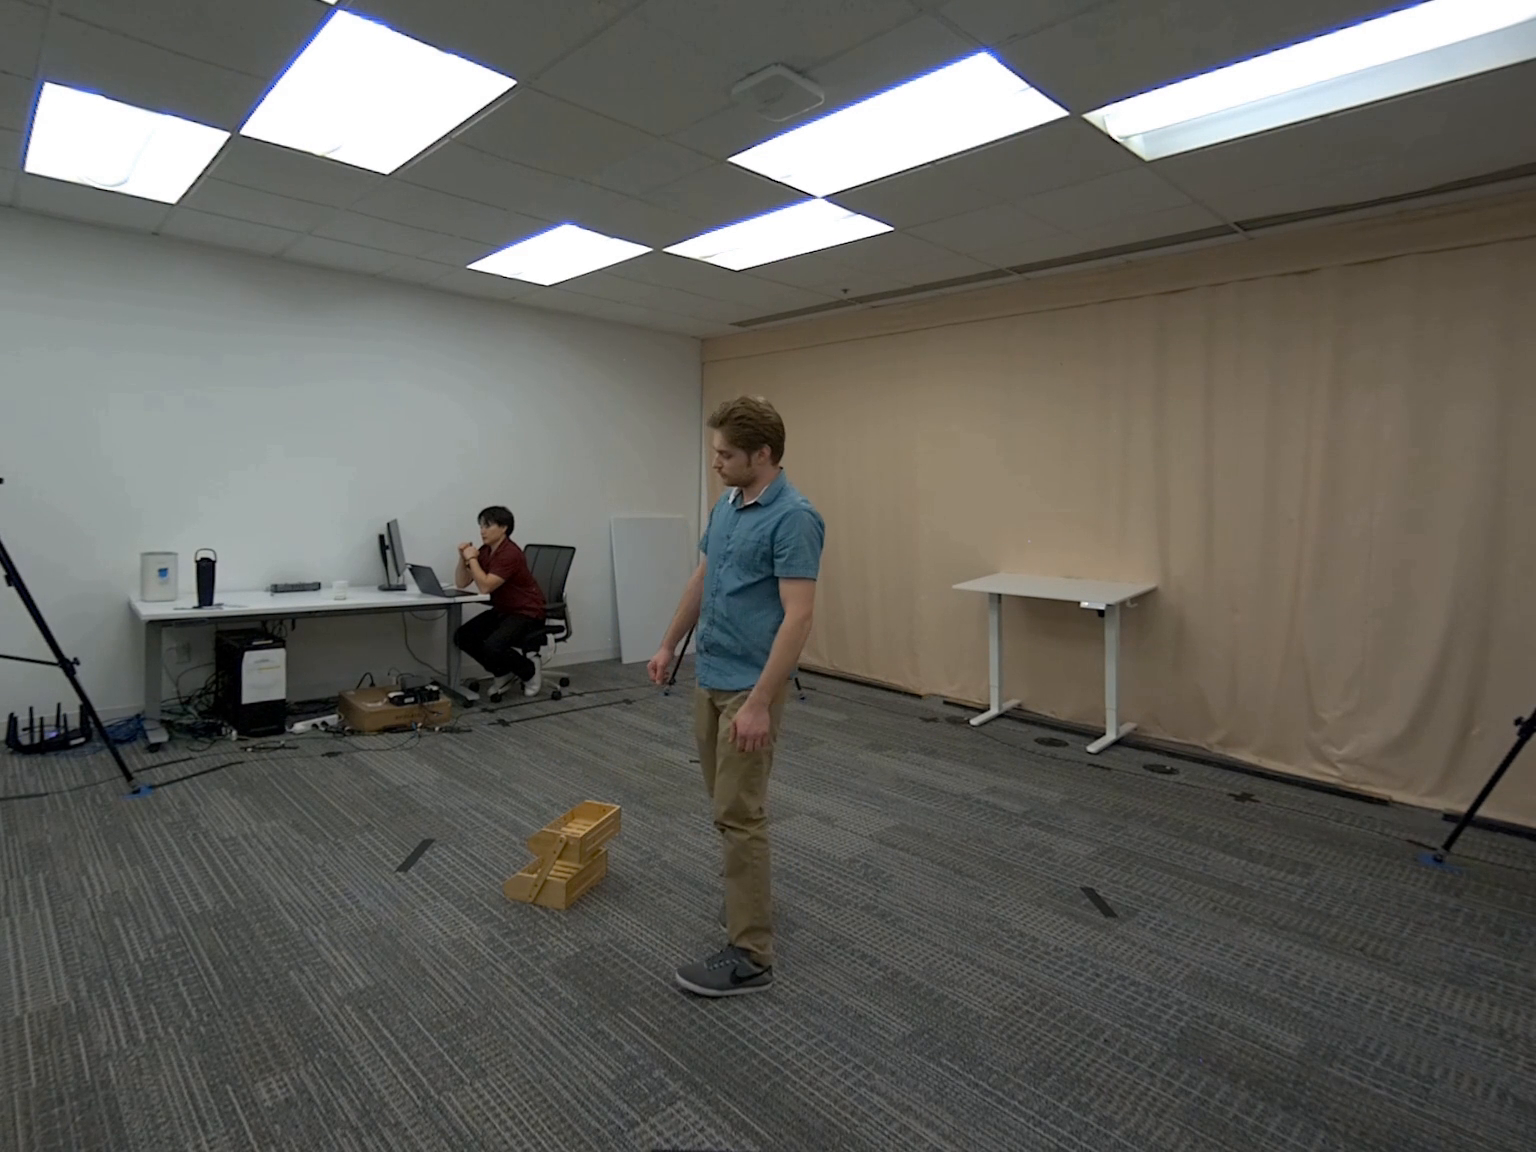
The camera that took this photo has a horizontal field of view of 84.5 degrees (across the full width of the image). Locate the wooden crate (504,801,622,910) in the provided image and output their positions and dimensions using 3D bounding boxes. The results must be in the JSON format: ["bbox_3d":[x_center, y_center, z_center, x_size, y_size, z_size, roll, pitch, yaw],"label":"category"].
[{"bbox_3d":[-0.743,0.973,2.980,0.306,0.272,0.320,3,5,18],"label":"wooden crate"}]
